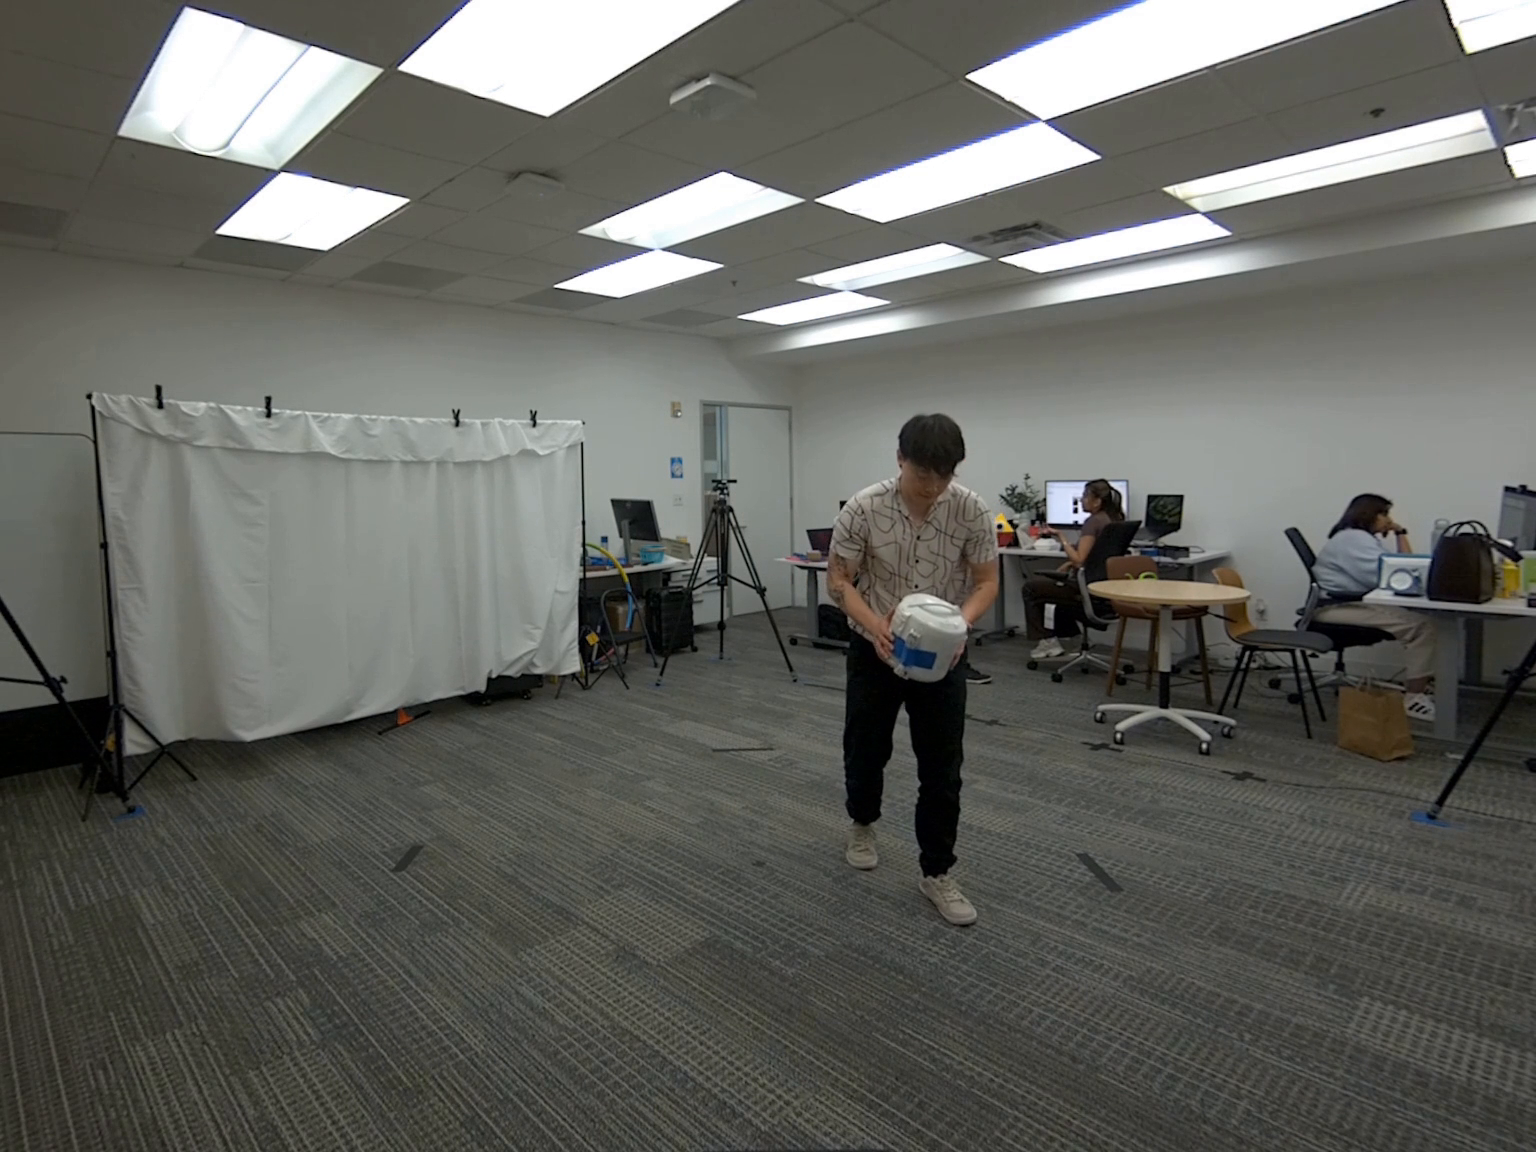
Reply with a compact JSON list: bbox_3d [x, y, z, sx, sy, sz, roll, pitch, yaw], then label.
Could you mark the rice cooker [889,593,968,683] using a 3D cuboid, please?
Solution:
[{"bbox_3d":[0.451,0.182,2.547,0.216,0.230,0.224,12,24,-20],"label":"rice cooker"}]
